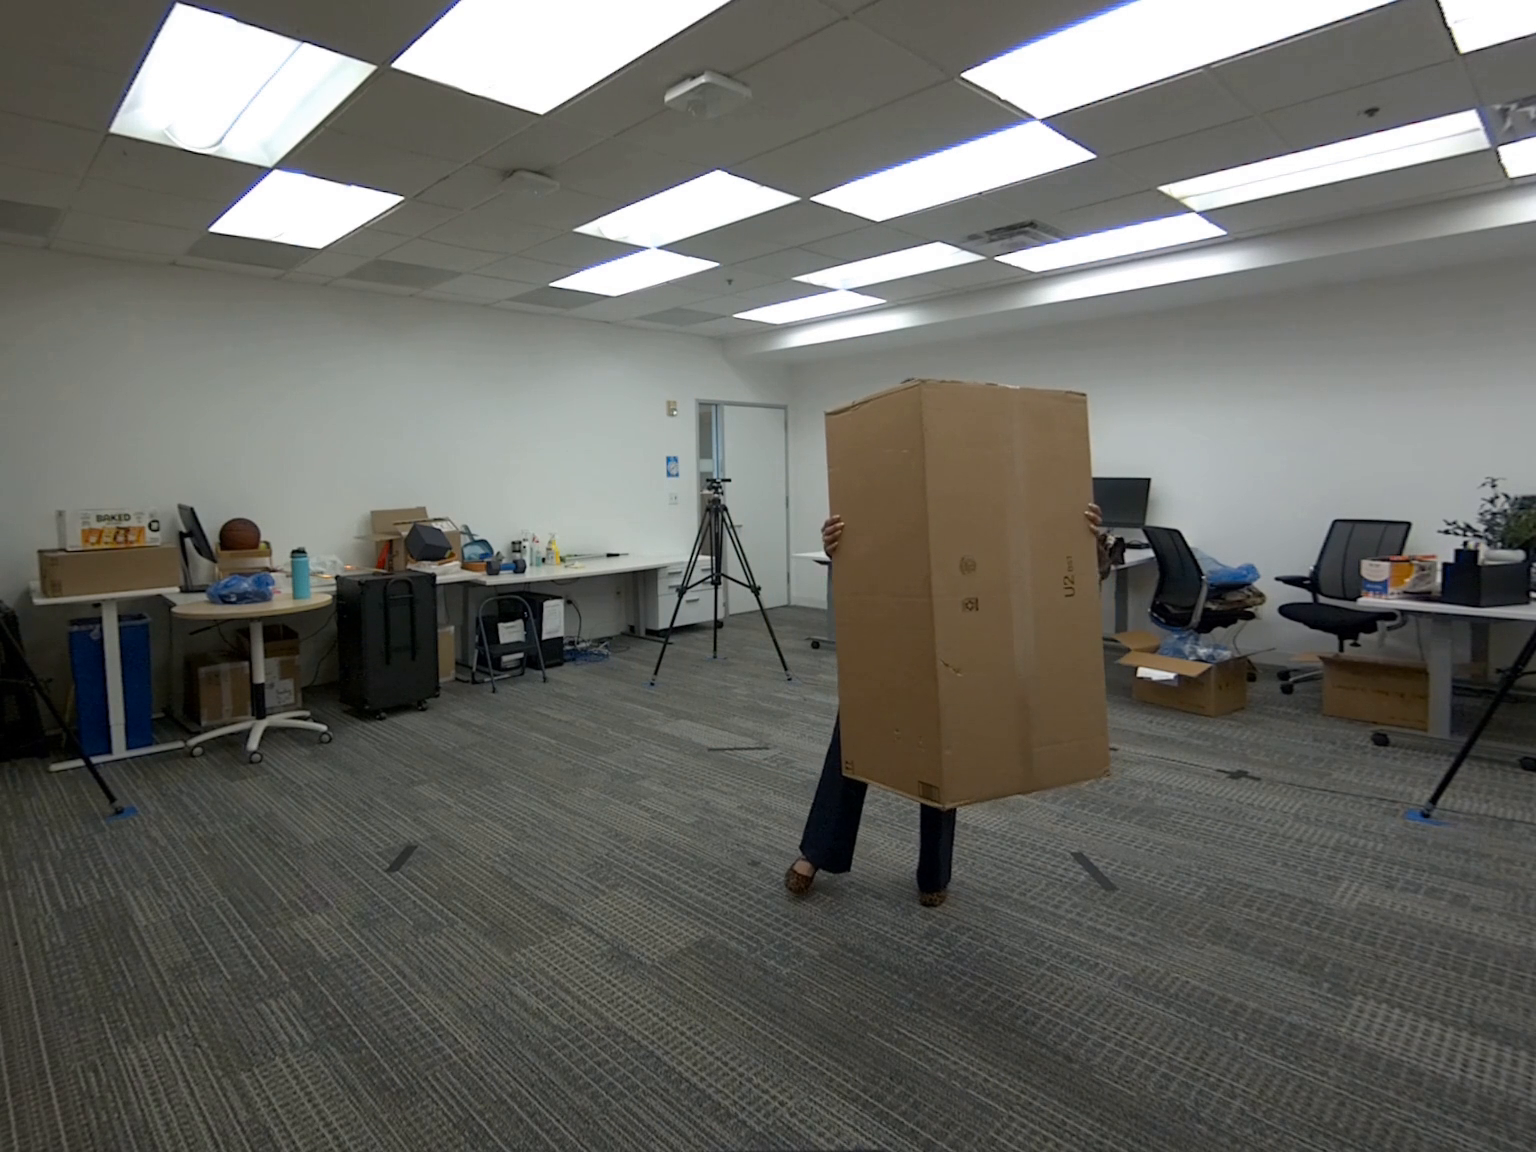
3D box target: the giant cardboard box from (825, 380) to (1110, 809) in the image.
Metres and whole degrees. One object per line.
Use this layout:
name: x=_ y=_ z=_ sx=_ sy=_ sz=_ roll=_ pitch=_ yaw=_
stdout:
giant cardboard box: x=0.526 y=0.033 z=2.332 sx=0.564 sy=1.028 sz=0.435 roll=-1 pitch=-2 yaw=-27
